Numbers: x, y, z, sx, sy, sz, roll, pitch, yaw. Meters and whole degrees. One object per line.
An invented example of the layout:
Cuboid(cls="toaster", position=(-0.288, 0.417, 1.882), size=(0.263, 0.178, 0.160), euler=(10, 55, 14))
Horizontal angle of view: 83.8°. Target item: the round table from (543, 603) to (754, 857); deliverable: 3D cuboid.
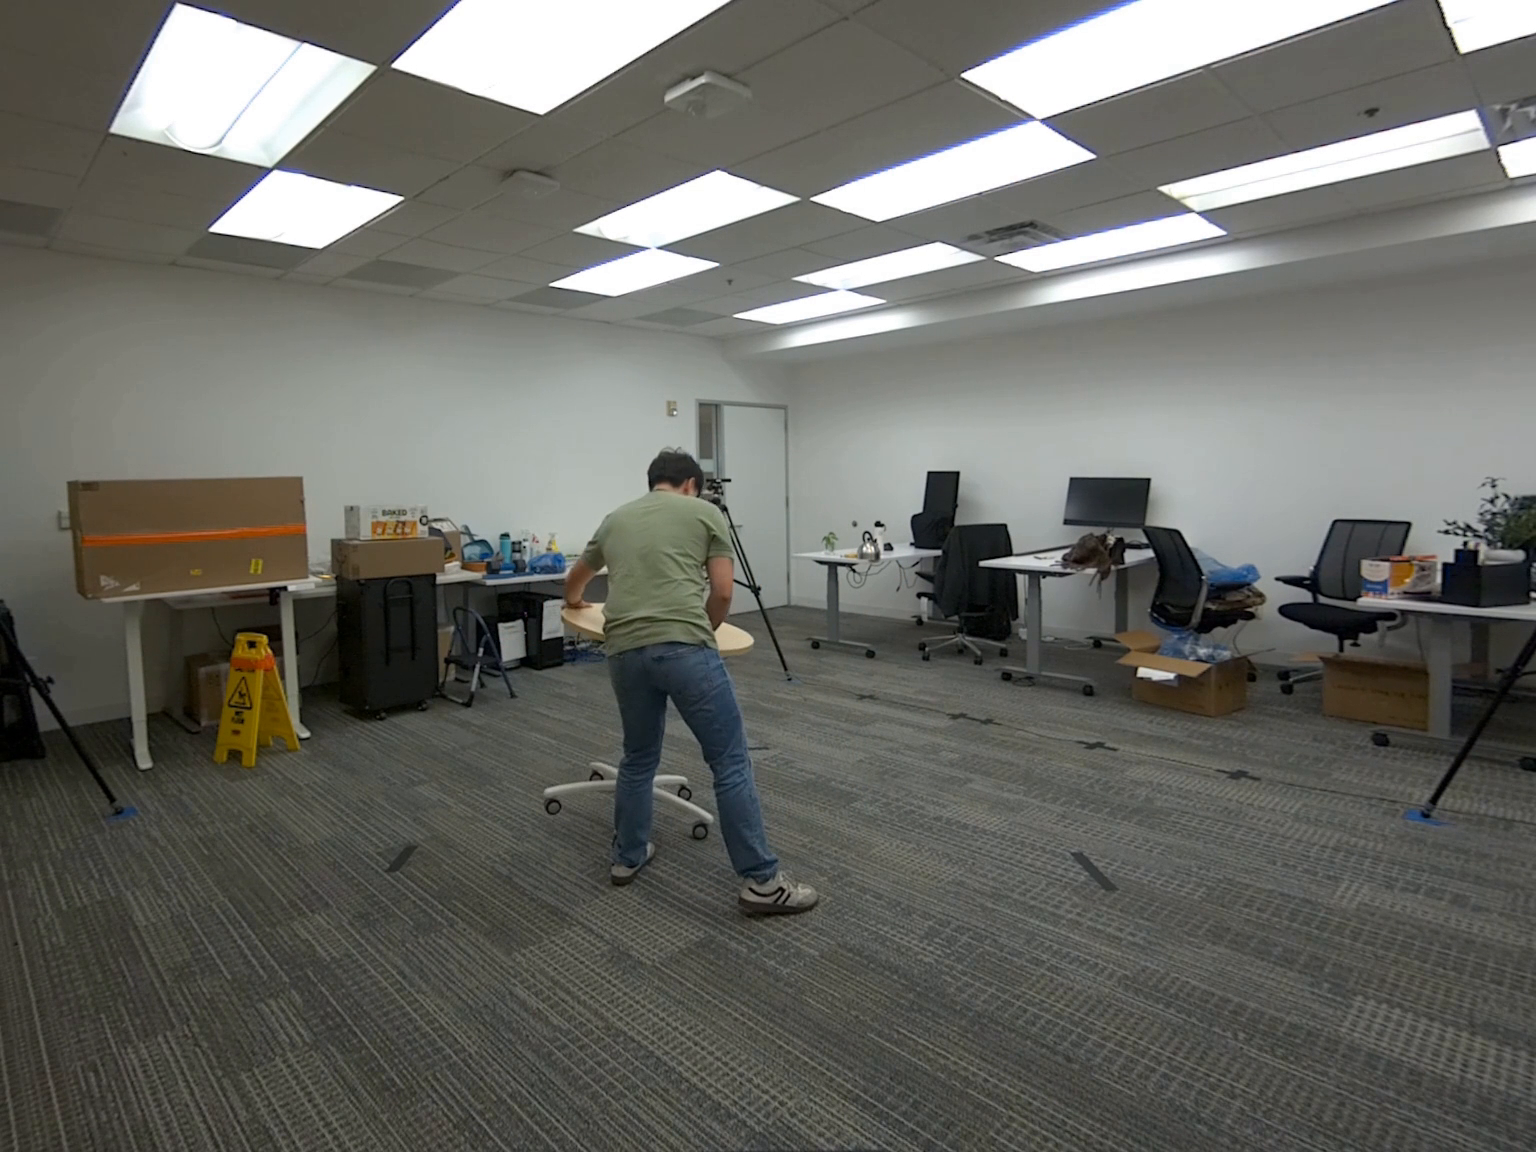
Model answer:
Cuboid(cls="round table", position=(-0.492, 0.581, 3.419), size=(0.763, 0.791, 0.768), euler=(9, 4, -2))
